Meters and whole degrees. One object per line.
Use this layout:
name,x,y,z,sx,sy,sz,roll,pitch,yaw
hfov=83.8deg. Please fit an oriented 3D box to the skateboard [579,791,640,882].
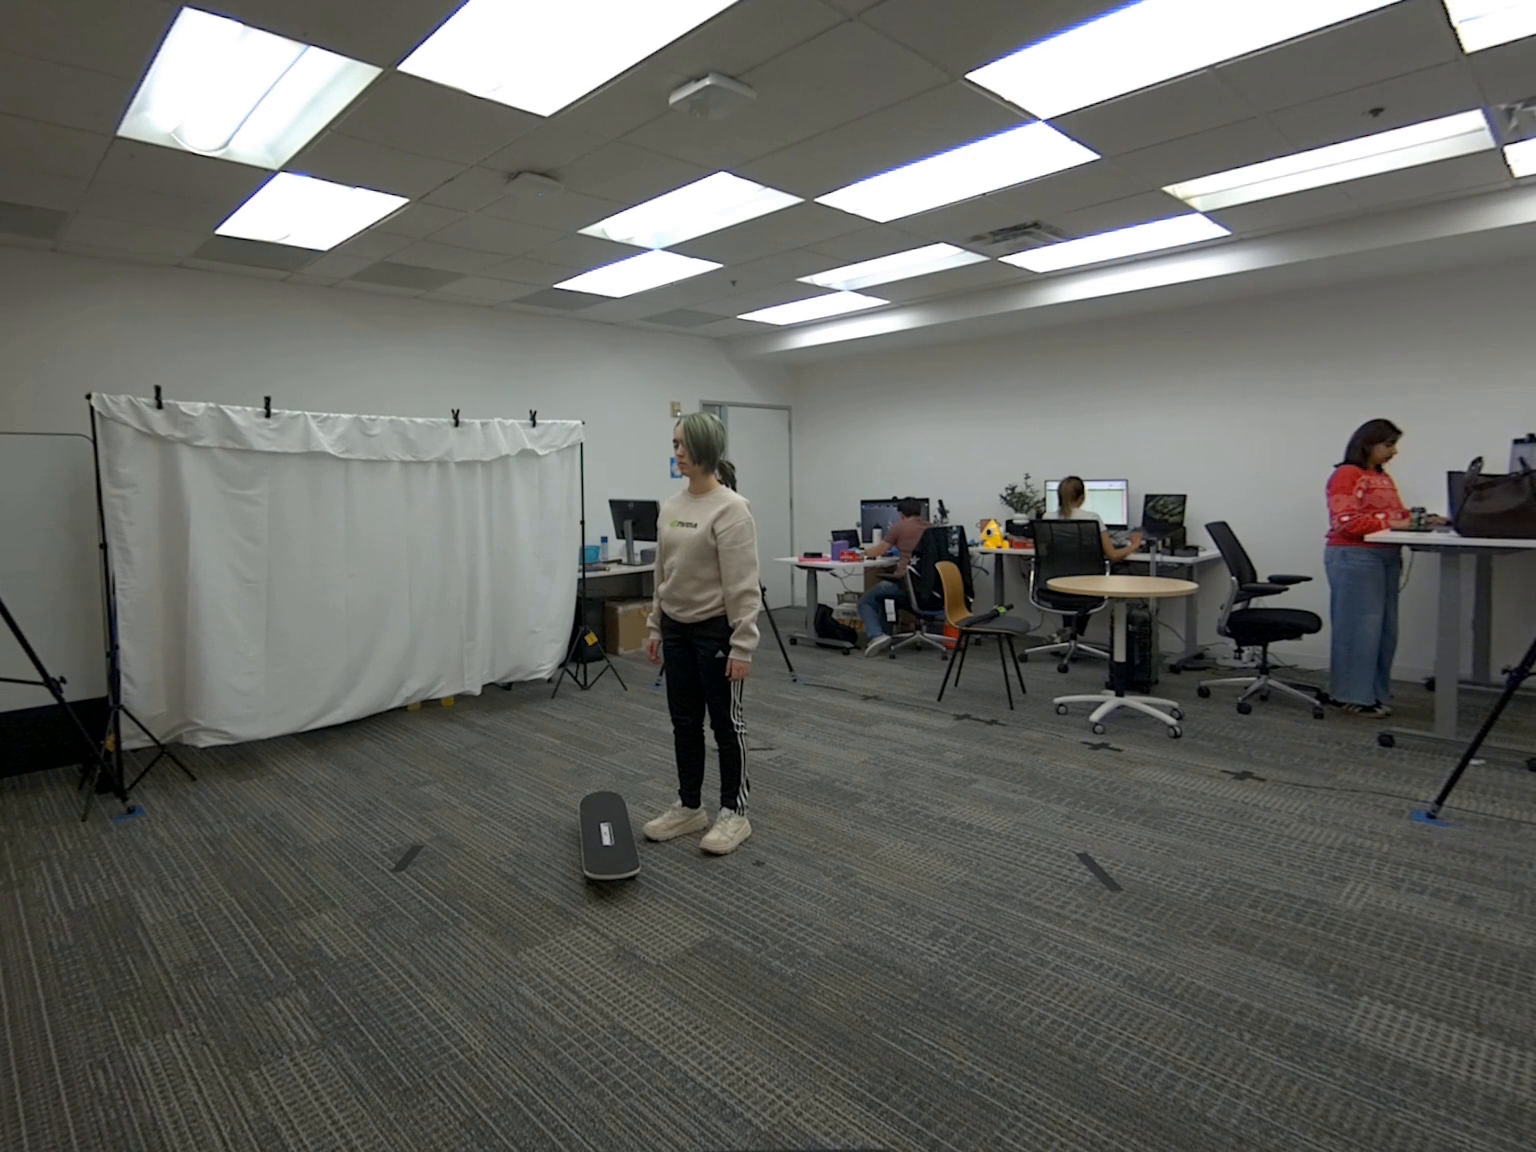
skateboard,-0.601,0.993,3.180,0.191,0.110,0.798,-3,7,-14
